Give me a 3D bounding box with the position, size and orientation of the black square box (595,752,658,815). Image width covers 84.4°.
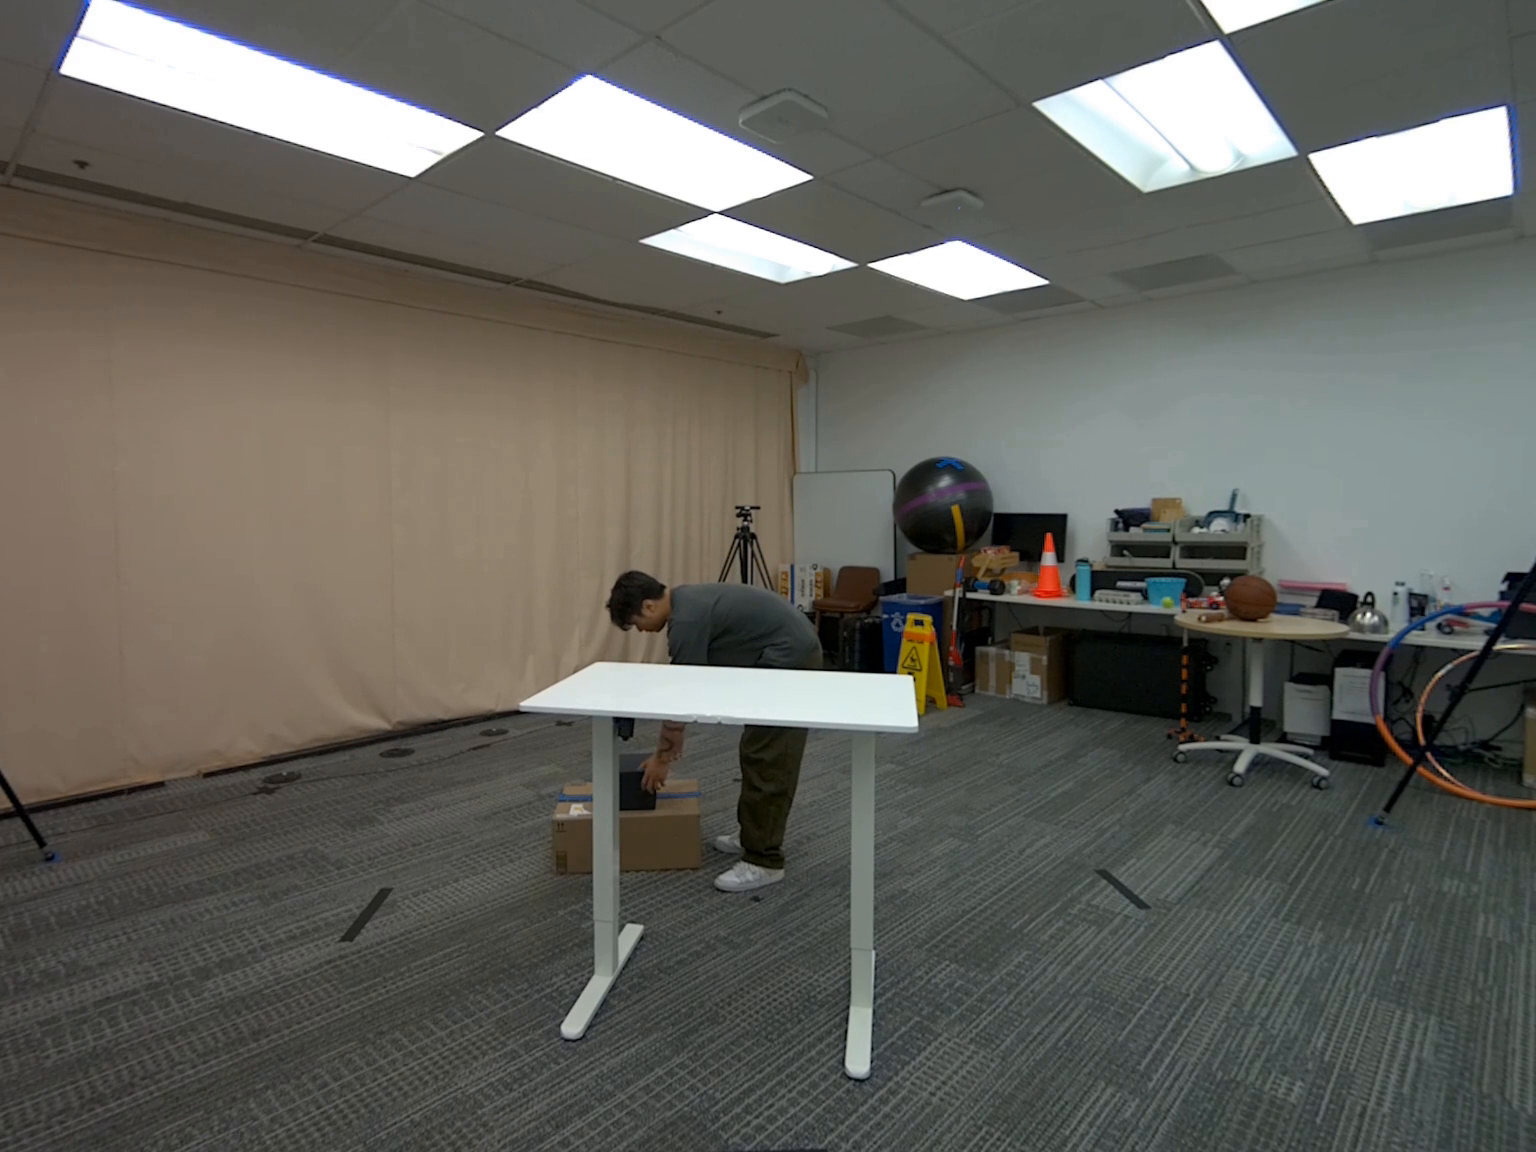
[{"bbox_3d":[-0.560,0.820,3.367,0.227,0.155,0.219,-4,6,-6],"label":"black square box"}]
